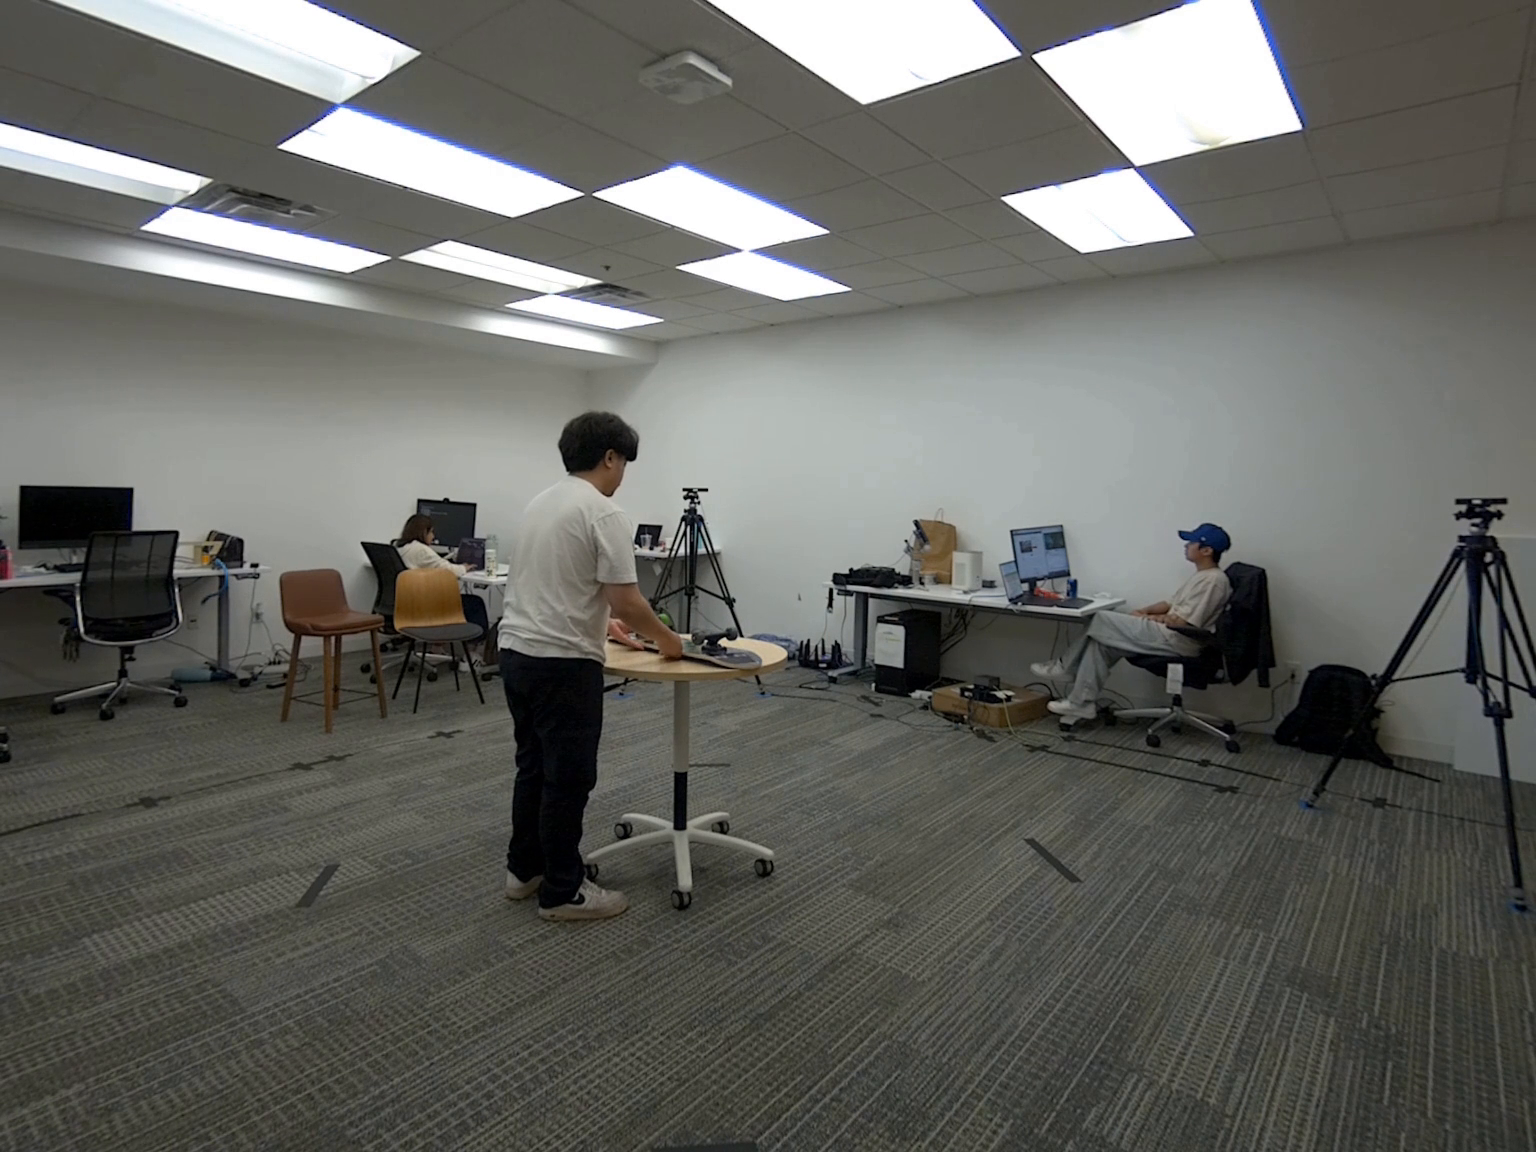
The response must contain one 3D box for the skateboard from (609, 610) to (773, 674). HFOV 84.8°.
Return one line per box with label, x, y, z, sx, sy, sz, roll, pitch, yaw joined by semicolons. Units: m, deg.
skateboard;-0.326;0.222;3.091;0.188;0.110;0.812;-7;8;-41
